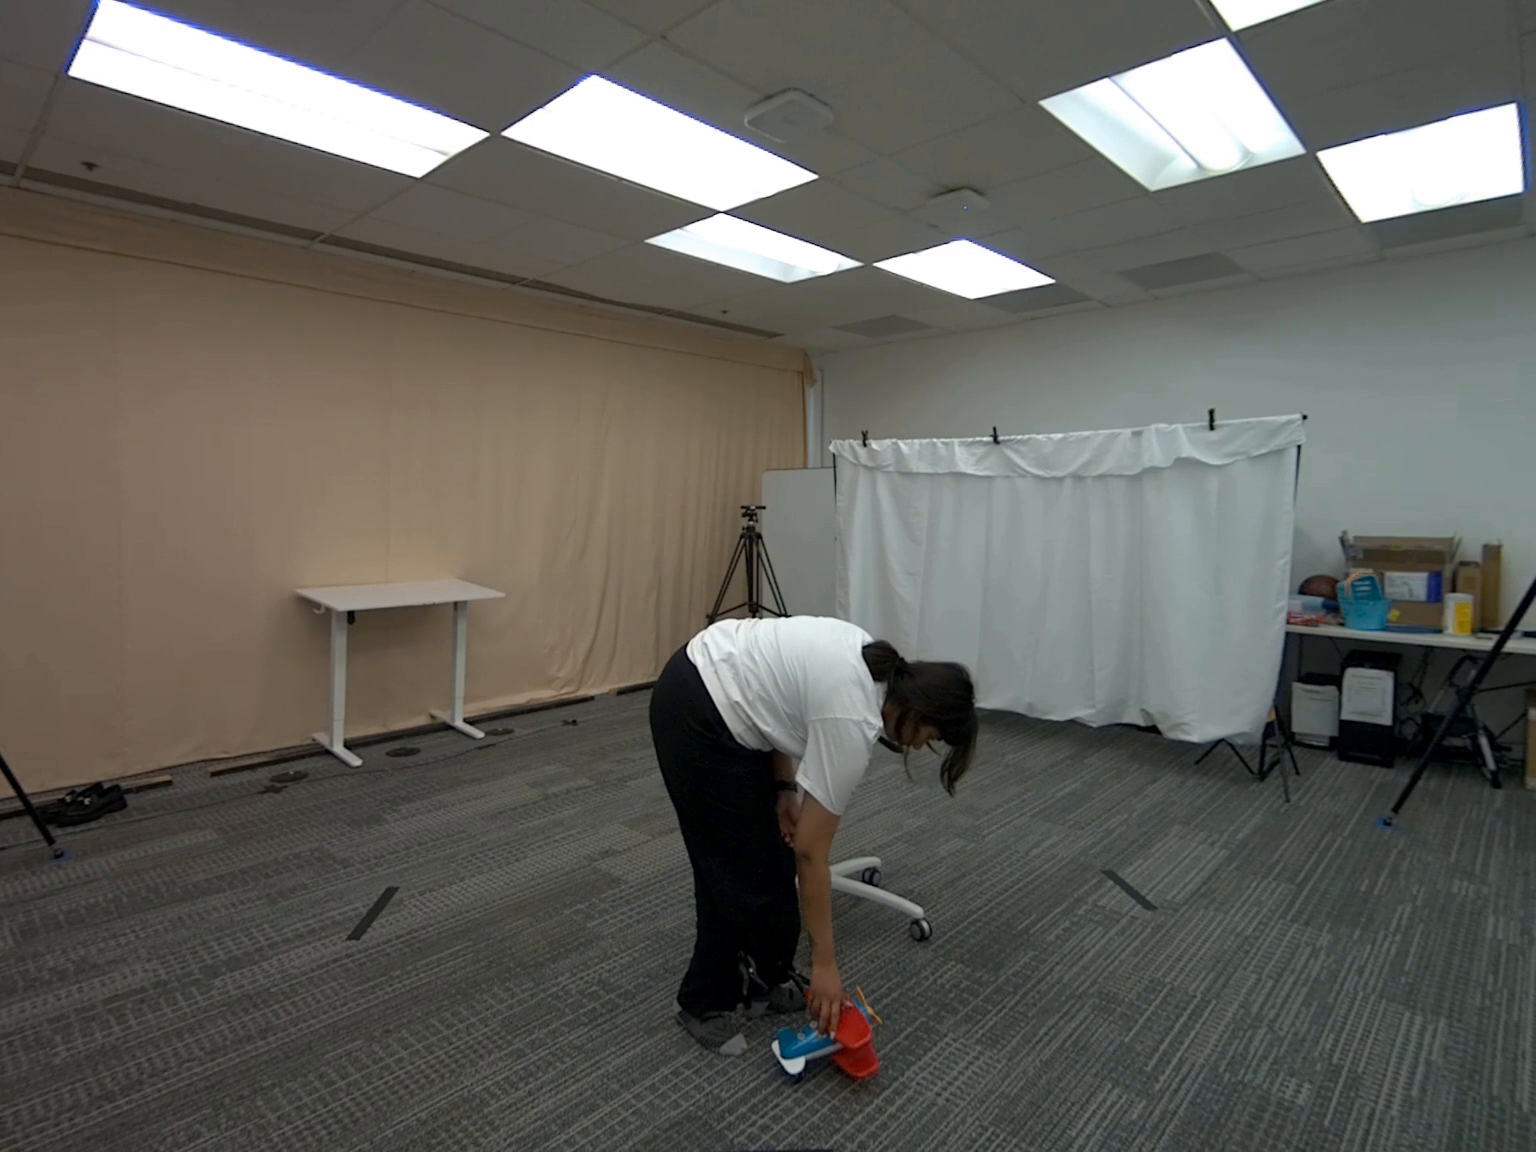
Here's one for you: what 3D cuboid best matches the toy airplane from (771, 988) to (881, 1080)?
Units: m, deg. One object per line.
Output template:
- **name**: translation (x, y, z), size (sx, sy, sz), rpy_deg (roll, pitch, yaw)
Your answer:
- **toy airplane**: translation (0.147, 1.145, 2.059), size (0.259, 0.156, 0.251), rpy_deg (6, 6, 40)
